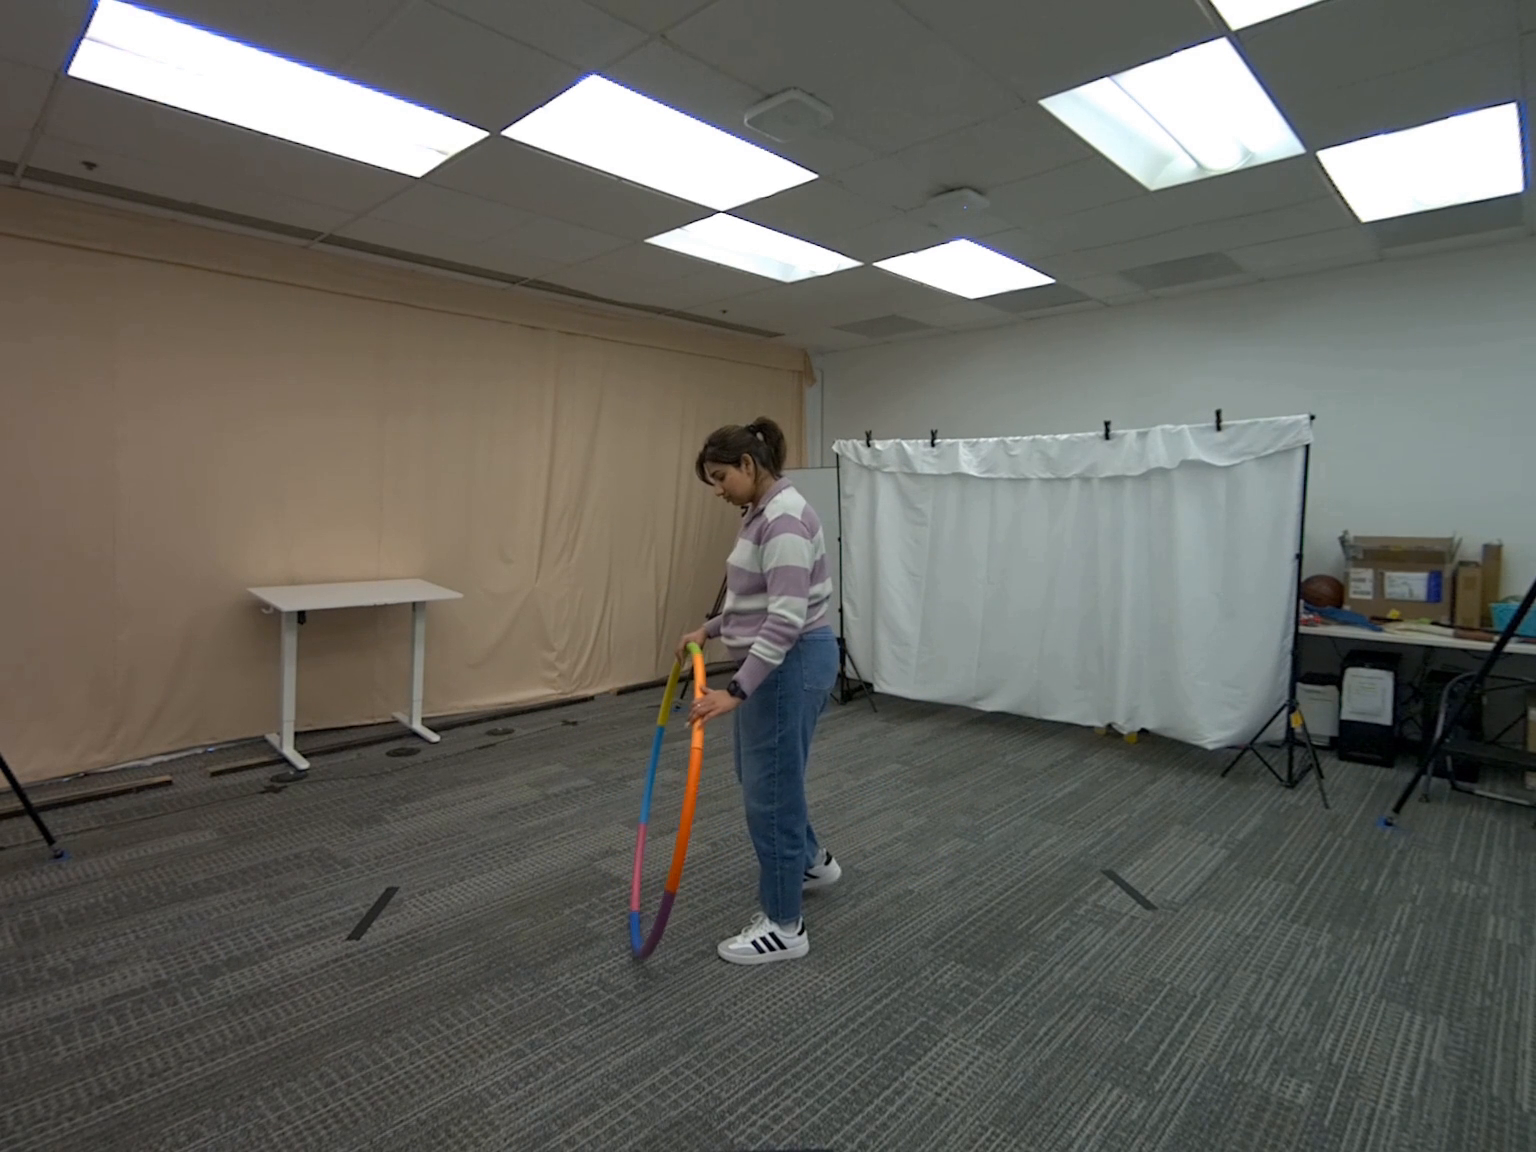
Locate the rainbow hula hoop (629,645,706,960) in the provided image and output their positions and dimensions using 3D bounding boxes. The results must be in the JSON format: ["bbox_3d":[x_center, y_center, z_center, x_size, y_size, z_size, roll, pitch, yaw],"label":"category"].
[{"bbox_3d":[-0.329,0.693,2.716,0.051,0.984,0.997,12,2,-11],"label":"rainbow hula hoop"}]
